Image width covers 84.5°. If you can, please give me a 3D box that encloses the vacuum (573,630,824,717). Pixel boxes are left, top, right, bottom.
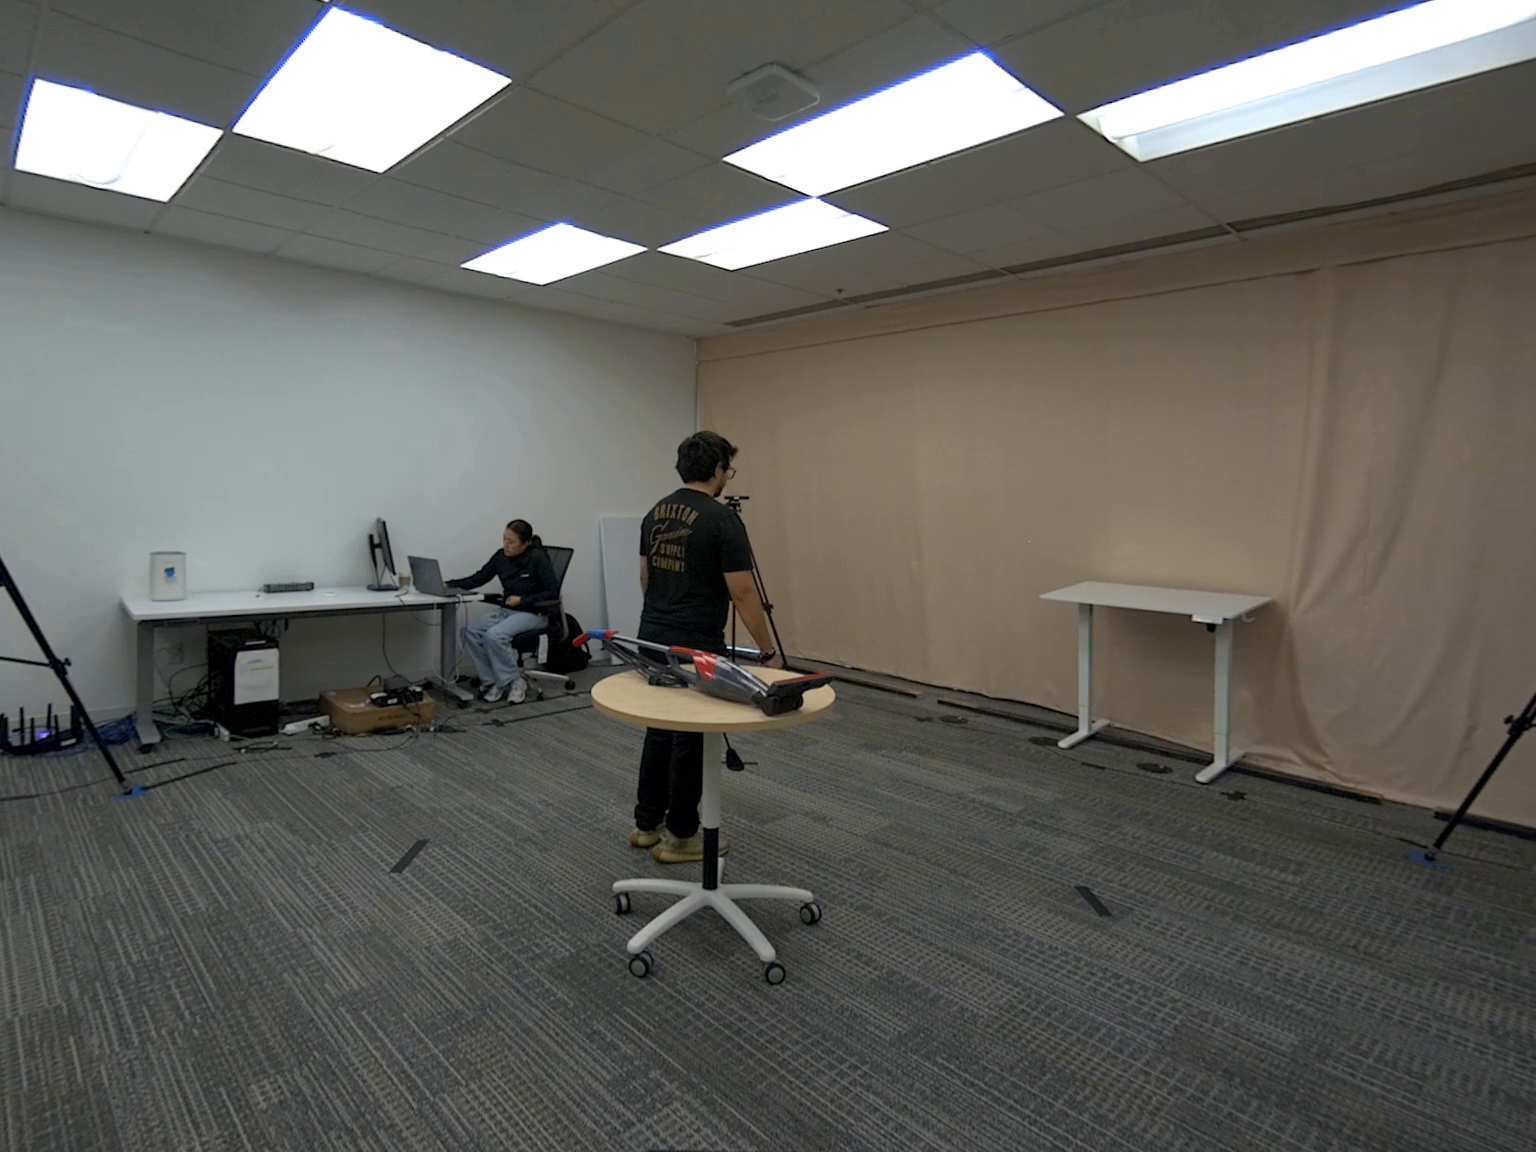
[{"bbox_3d":[-0.332,0.305,2.715,0.246,0.144,1.077,5,3,-44],"label":"vacuum"}]
